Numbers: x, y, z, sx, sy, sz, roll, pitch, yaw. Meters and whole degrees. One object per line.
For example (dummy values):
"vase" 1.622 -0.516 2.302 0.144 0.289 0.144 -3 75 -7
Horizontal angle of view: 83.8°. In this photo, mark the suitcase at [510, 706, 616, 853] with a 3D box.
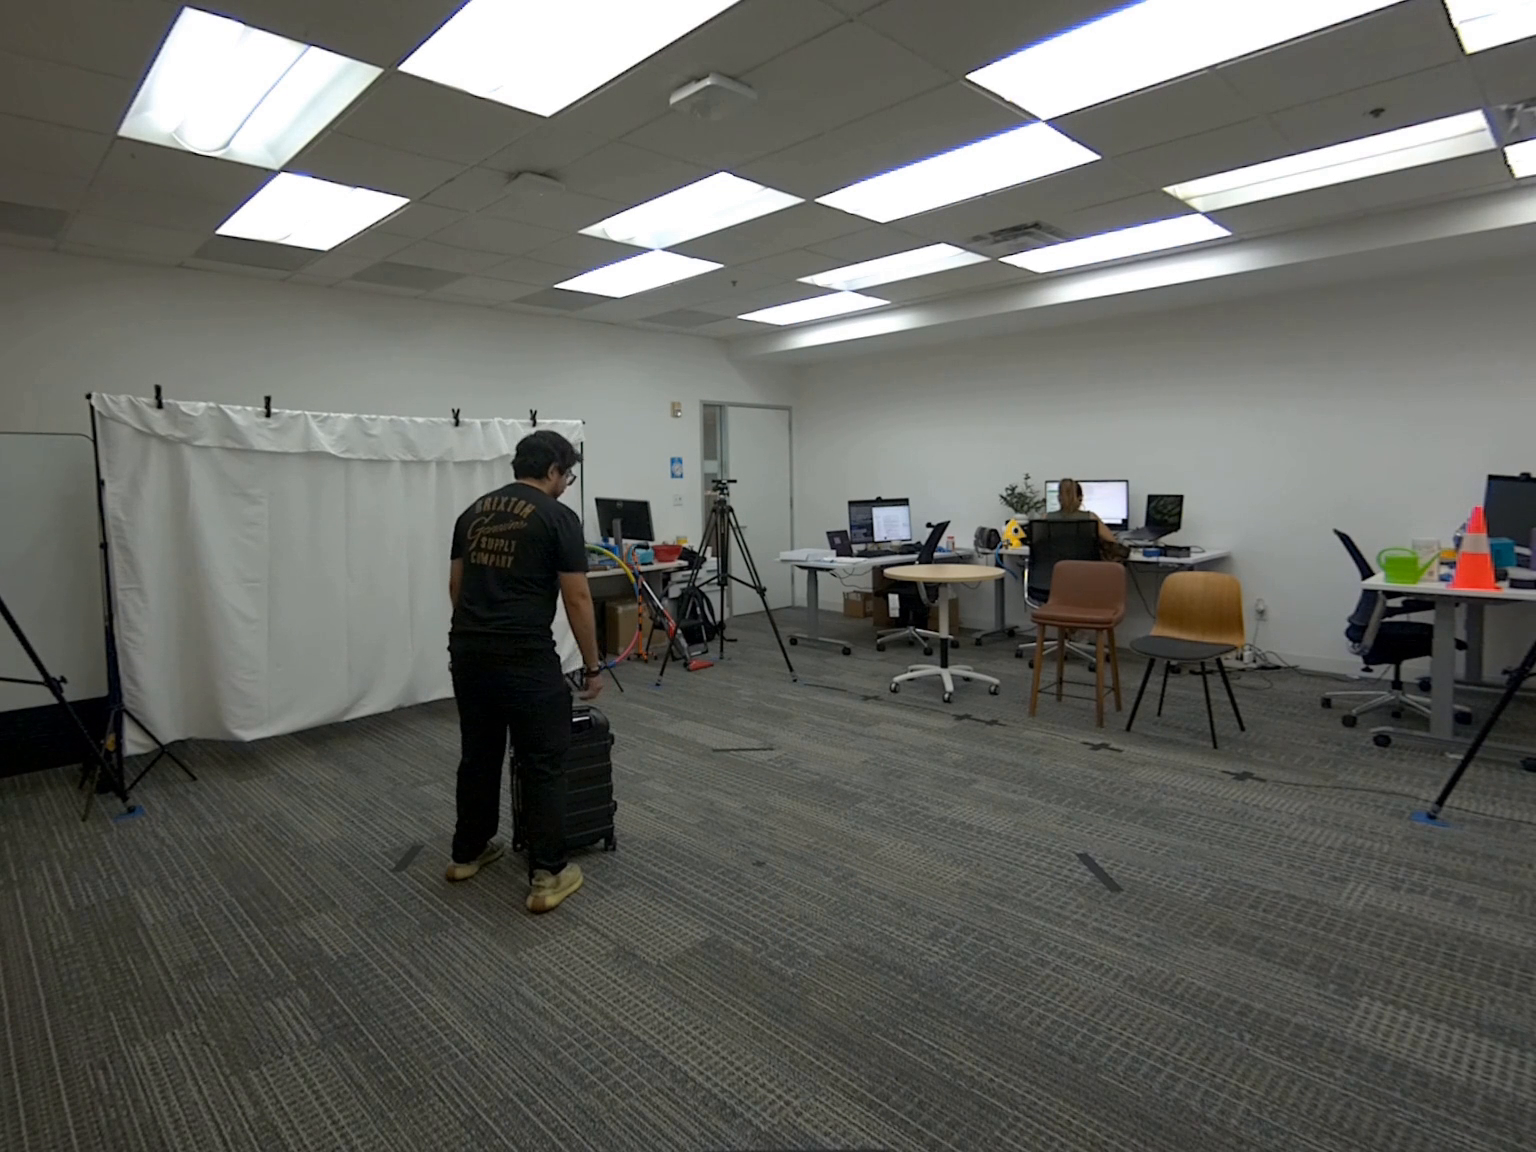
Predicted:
"suitcase" -0.785 0.773 3.235 0.366 0.547 0.255 -5 6 -33
